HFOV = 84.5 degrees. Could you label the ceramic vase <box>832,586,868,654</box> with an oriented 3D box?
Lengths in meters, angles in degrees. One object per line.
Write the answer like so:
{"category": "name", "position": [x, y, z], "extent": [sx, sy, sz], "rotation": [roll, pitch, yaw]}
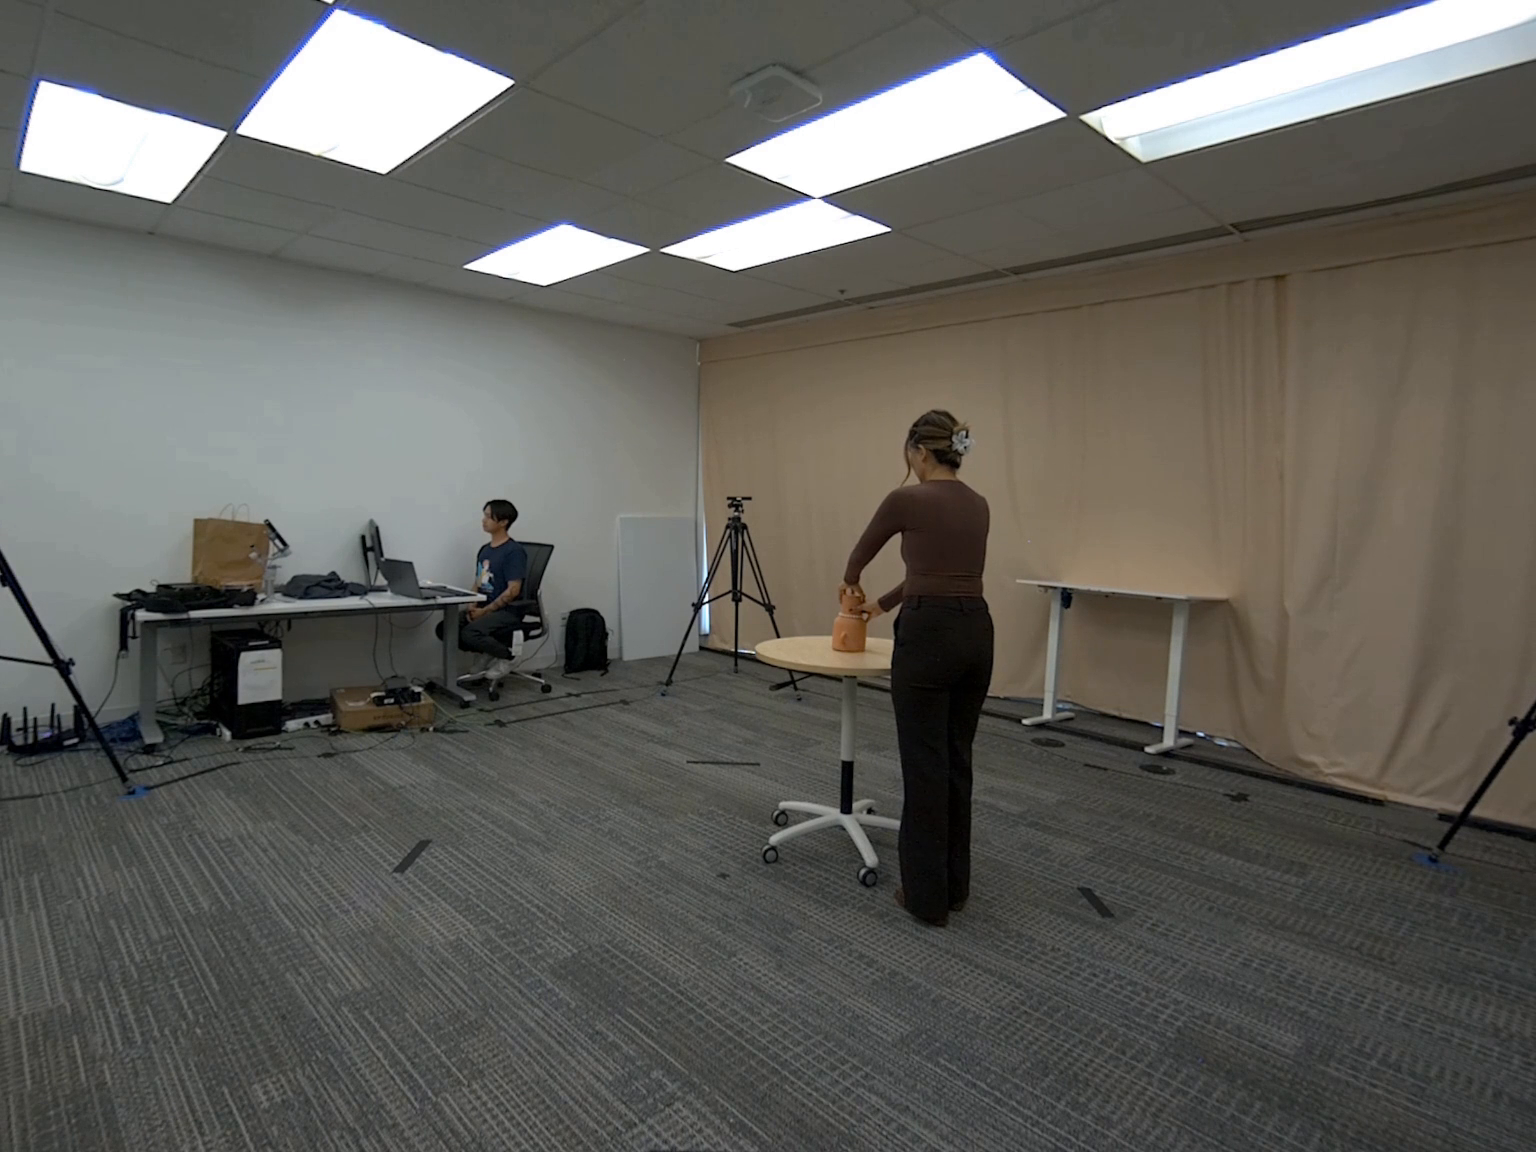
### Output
{"category": "ceramic vase", "position": [0.325, 0.186, 3.380], "extent": [0.133, 0.219, 0.161], "rotation": [5, 4, -18]}
